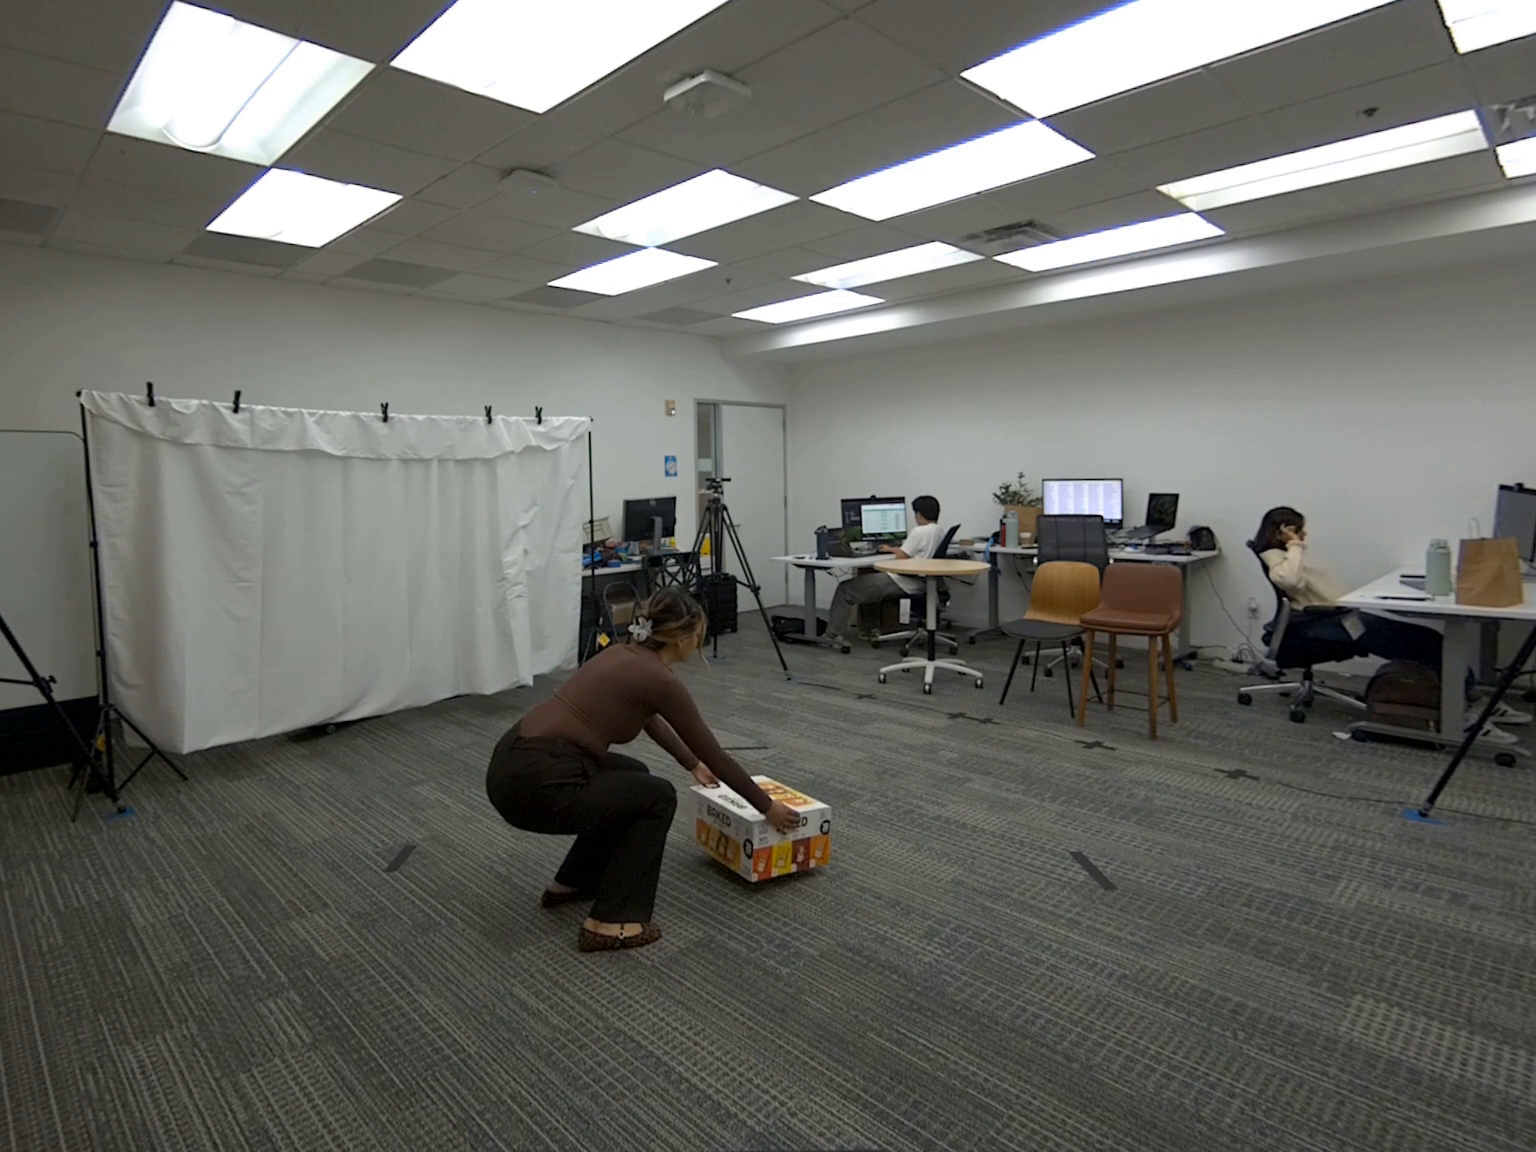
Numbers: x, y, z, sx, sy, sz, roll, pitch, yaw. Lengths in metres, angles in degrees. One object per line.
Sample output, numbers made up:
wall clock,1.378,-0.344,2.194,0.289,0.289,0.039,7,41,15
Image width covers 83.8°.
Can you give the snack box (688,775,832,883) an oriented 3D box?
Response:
snack box,-0.036,0.890,3.081,0.331,0.205,0.417,1,4,-36
